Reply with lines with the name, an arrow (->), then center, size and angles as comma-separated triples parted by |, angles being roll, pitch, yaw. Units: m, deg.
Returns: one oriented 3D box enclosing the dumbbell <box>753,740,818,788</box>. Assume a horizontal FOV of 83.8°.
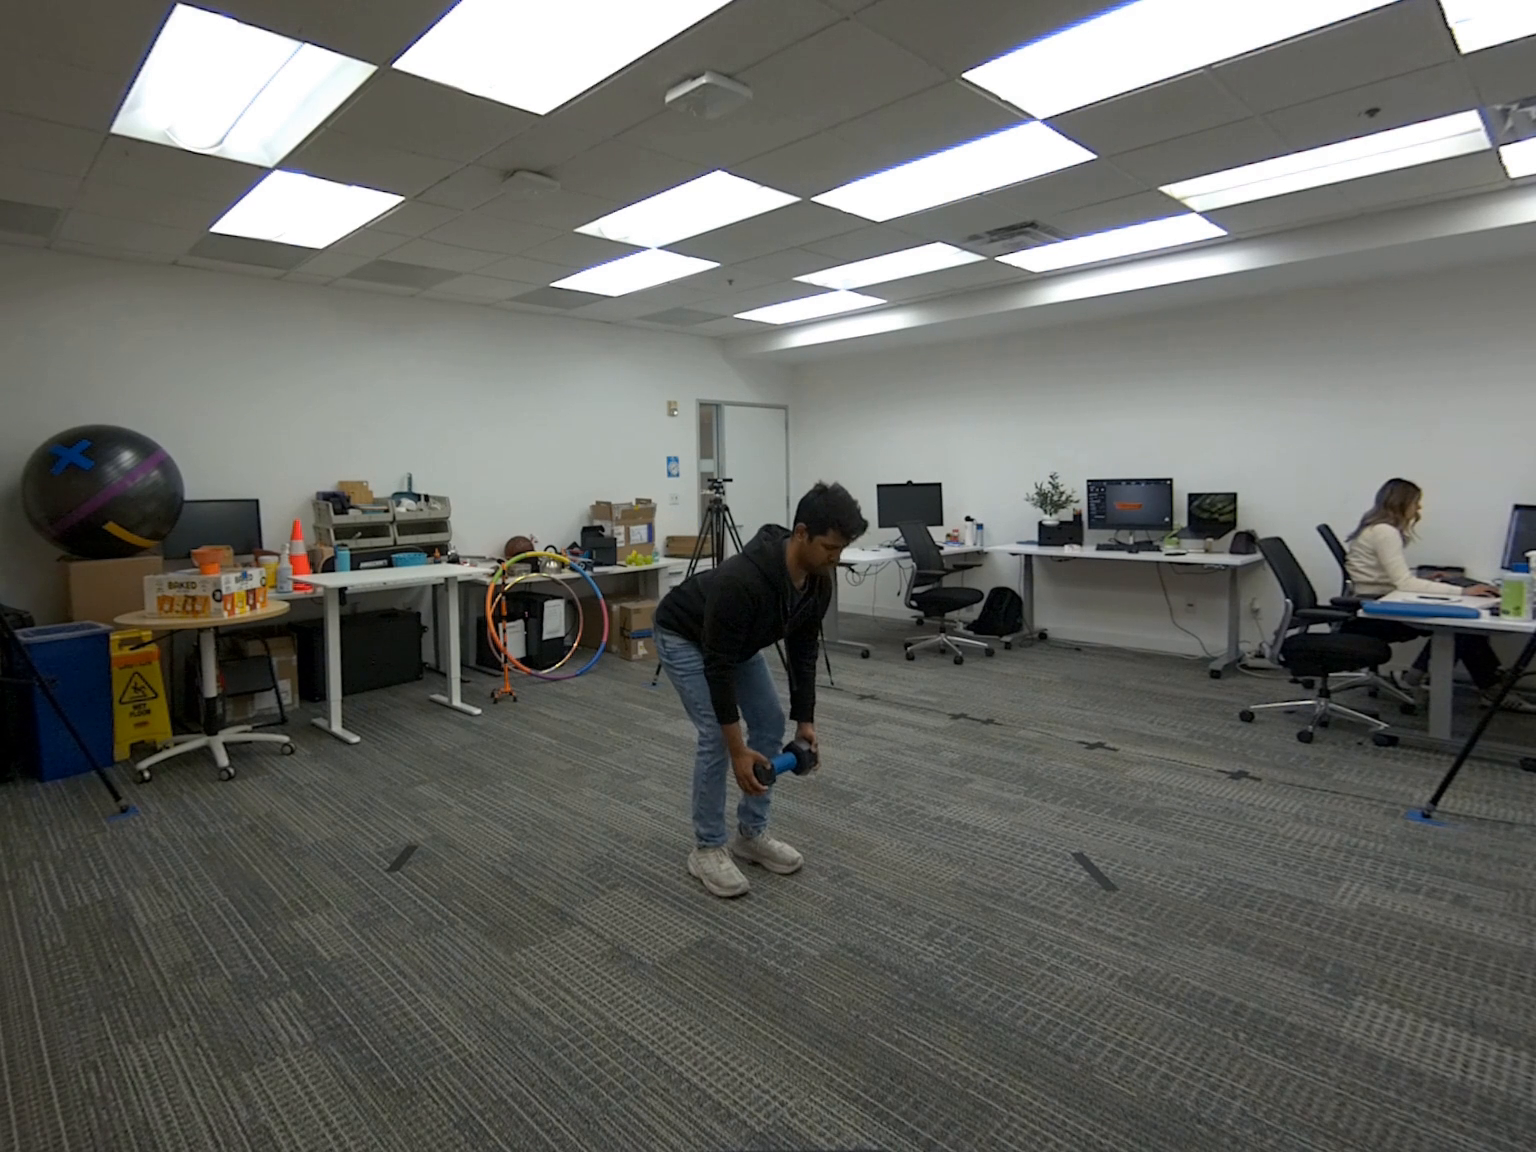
dumbbell -> 0.030, 0.642, 2.915 | 0.287, 0.111, 0.123 | -12, -24, -43
